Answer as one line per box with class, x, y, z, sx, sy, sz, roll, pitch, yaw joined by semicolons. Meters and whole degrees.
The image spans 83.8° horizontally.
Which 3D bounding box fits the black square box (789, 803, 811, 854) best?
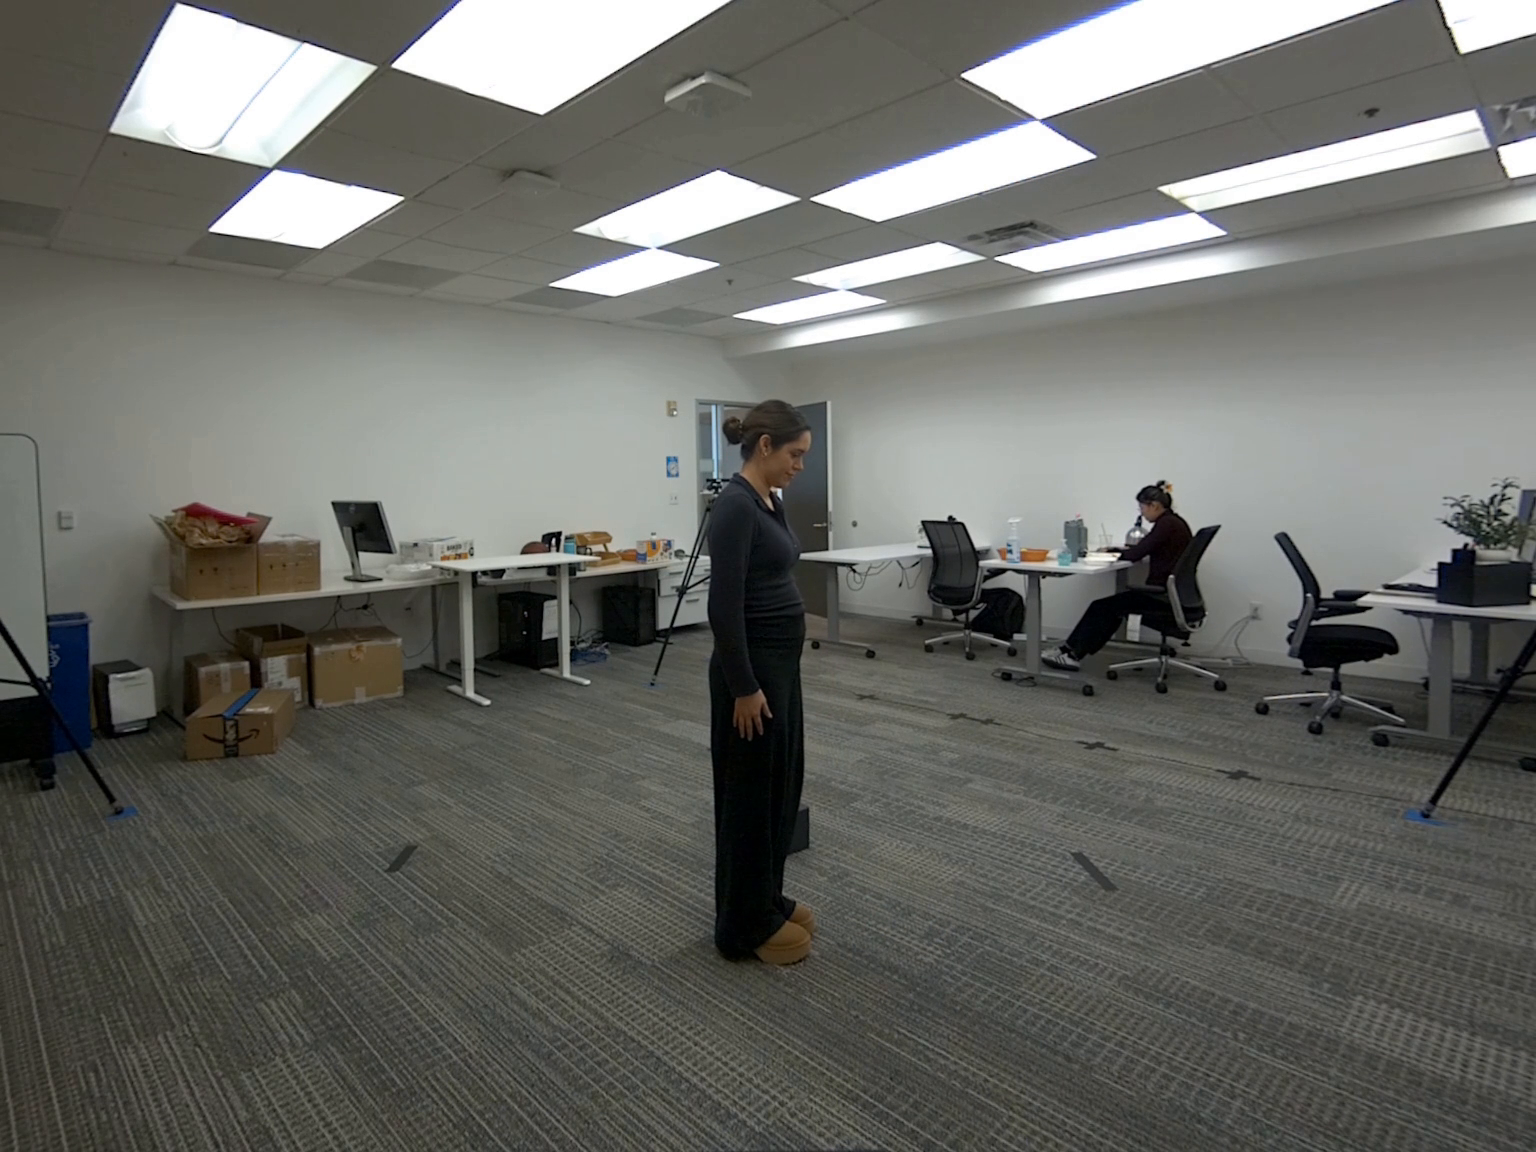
black square box;0.012;0.947;3.237;0.222;0.155;0.224;-5;7;-41
